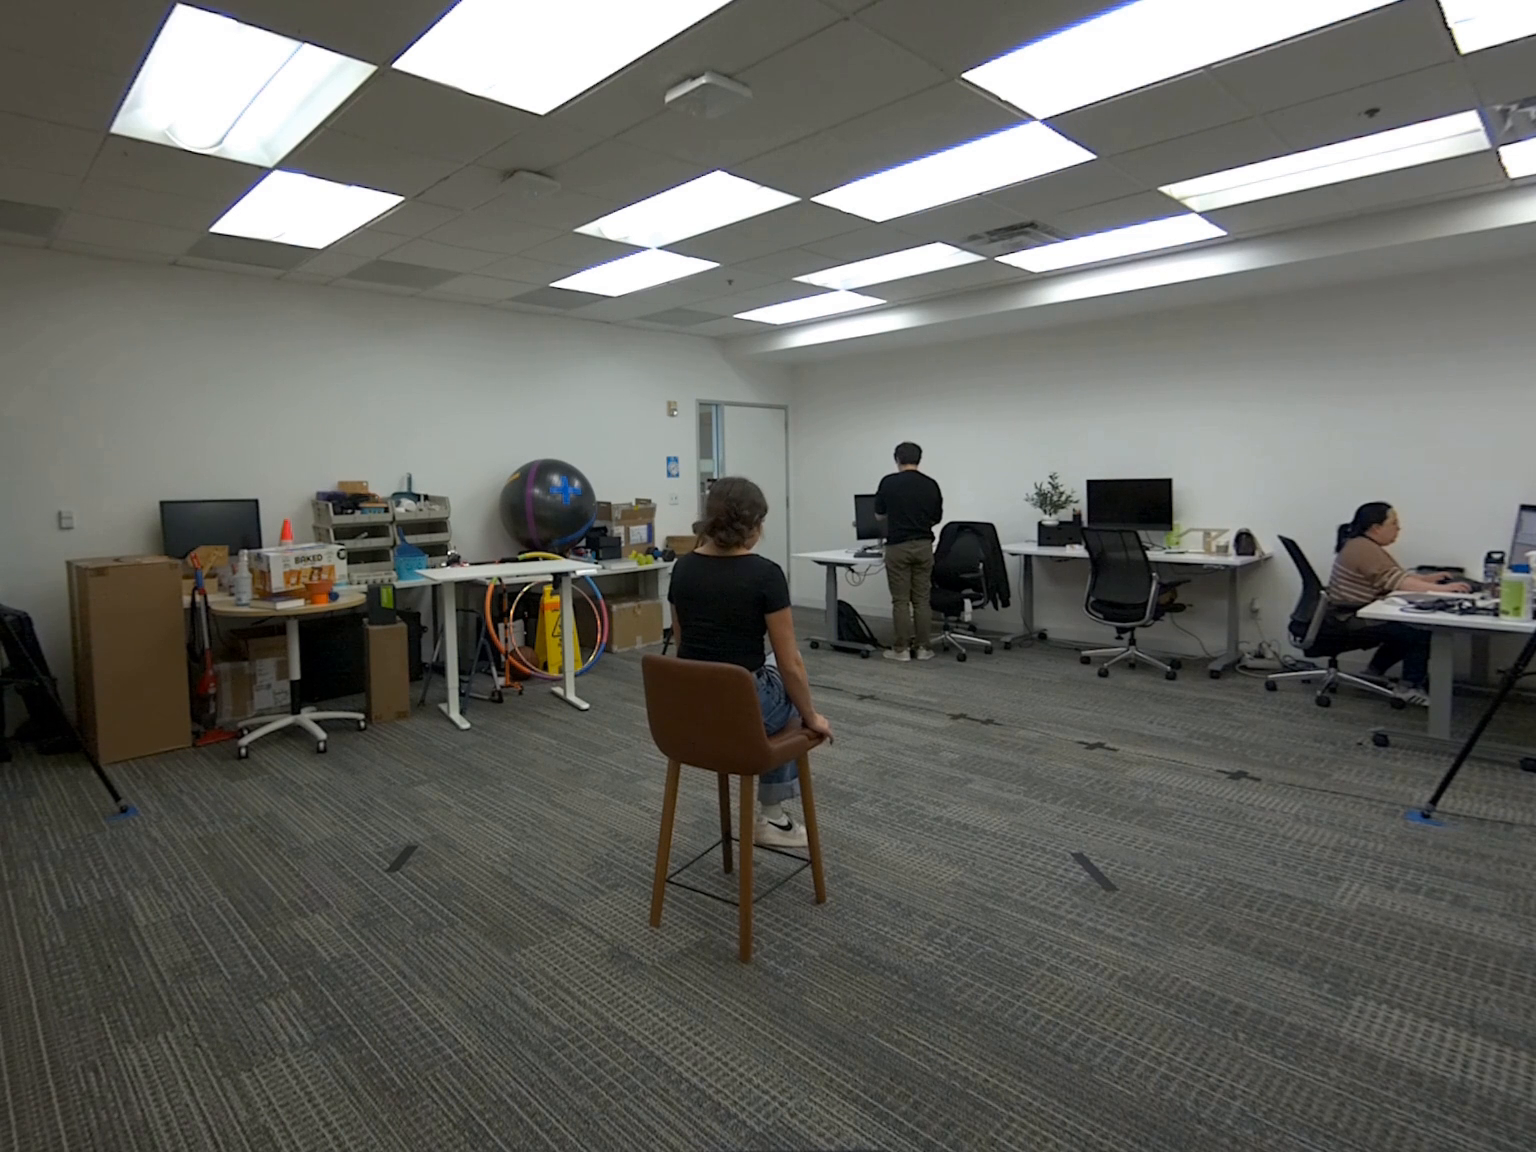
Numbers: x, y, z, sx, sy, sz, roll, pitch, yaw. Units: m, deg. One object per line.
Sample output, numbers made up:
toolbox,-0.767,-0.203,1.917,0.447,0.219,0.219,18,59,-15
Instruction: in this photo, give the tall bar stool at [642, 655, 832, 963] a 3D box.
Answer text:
tall bar stool,-0.112,0.660,2.722,0.469,0.885,0.457,1,7,35
